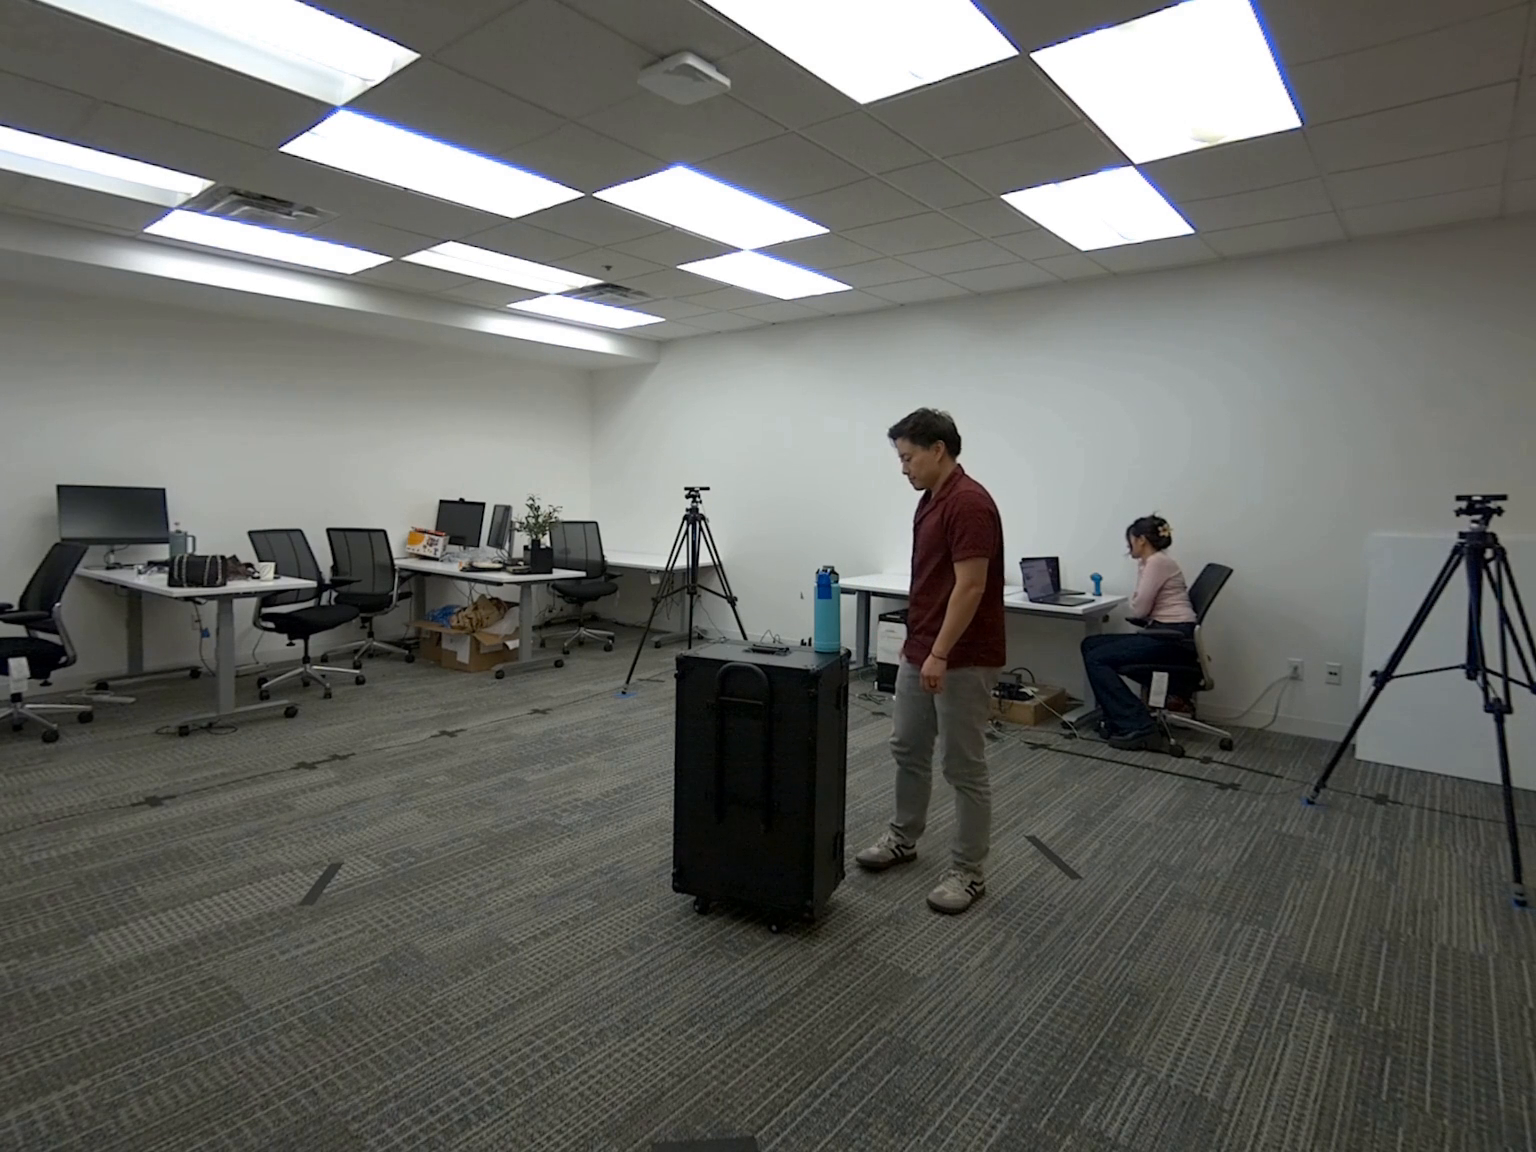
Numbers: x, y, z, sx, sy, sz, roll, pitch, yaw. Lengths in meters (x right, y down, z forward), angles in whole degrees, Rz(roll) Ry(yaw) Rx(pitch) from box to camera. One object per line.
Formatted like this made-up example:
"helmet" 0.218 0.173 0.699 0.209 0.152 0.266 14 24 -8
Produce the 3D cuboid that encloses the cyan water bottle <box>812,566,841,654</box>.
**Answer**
"cyan water bottle" 0.196 0.104 2.847 0.092 0.283 0.092 -2 2 -2
